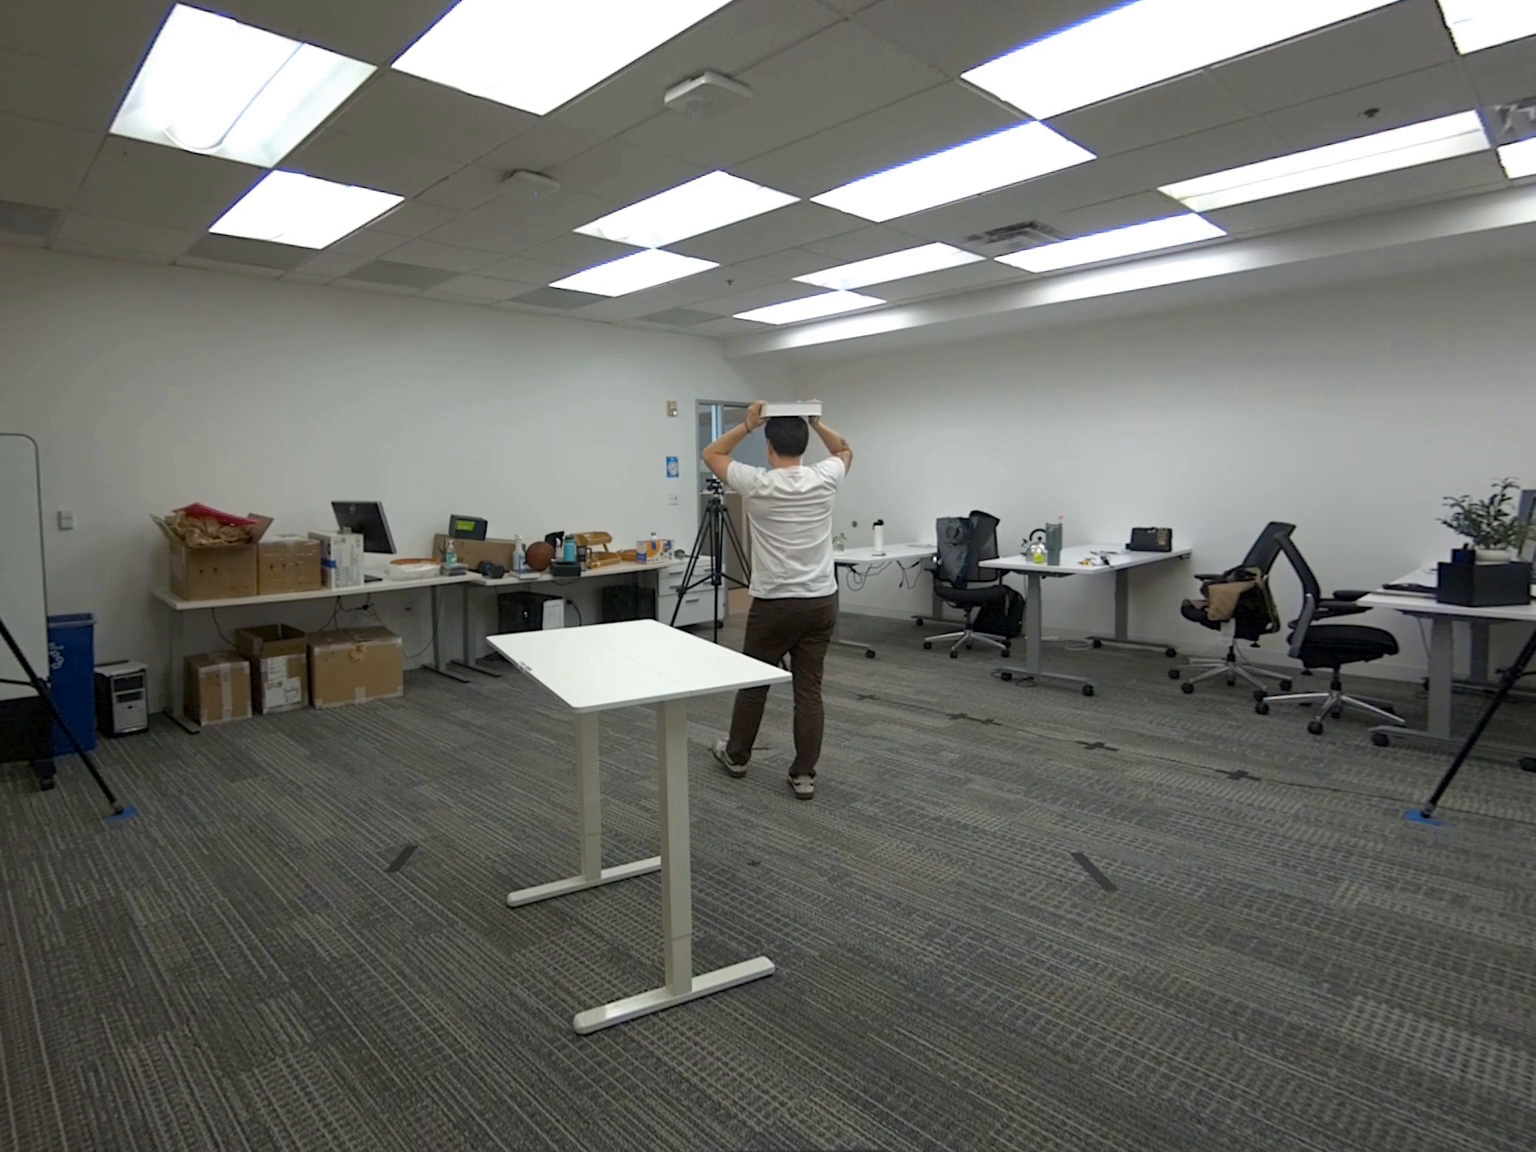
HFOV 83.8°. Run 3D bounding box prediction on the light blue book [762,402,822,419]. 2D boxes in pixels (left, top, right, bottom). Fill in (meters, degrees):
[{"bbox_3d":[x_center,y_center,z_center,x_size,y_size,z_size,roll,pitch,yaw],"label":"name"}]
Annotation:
[{"bbox_3d":[0.088,-0.732,3.773,0.257,0.059,0.195,-5,6,-17],"label":"light blue book"}]
